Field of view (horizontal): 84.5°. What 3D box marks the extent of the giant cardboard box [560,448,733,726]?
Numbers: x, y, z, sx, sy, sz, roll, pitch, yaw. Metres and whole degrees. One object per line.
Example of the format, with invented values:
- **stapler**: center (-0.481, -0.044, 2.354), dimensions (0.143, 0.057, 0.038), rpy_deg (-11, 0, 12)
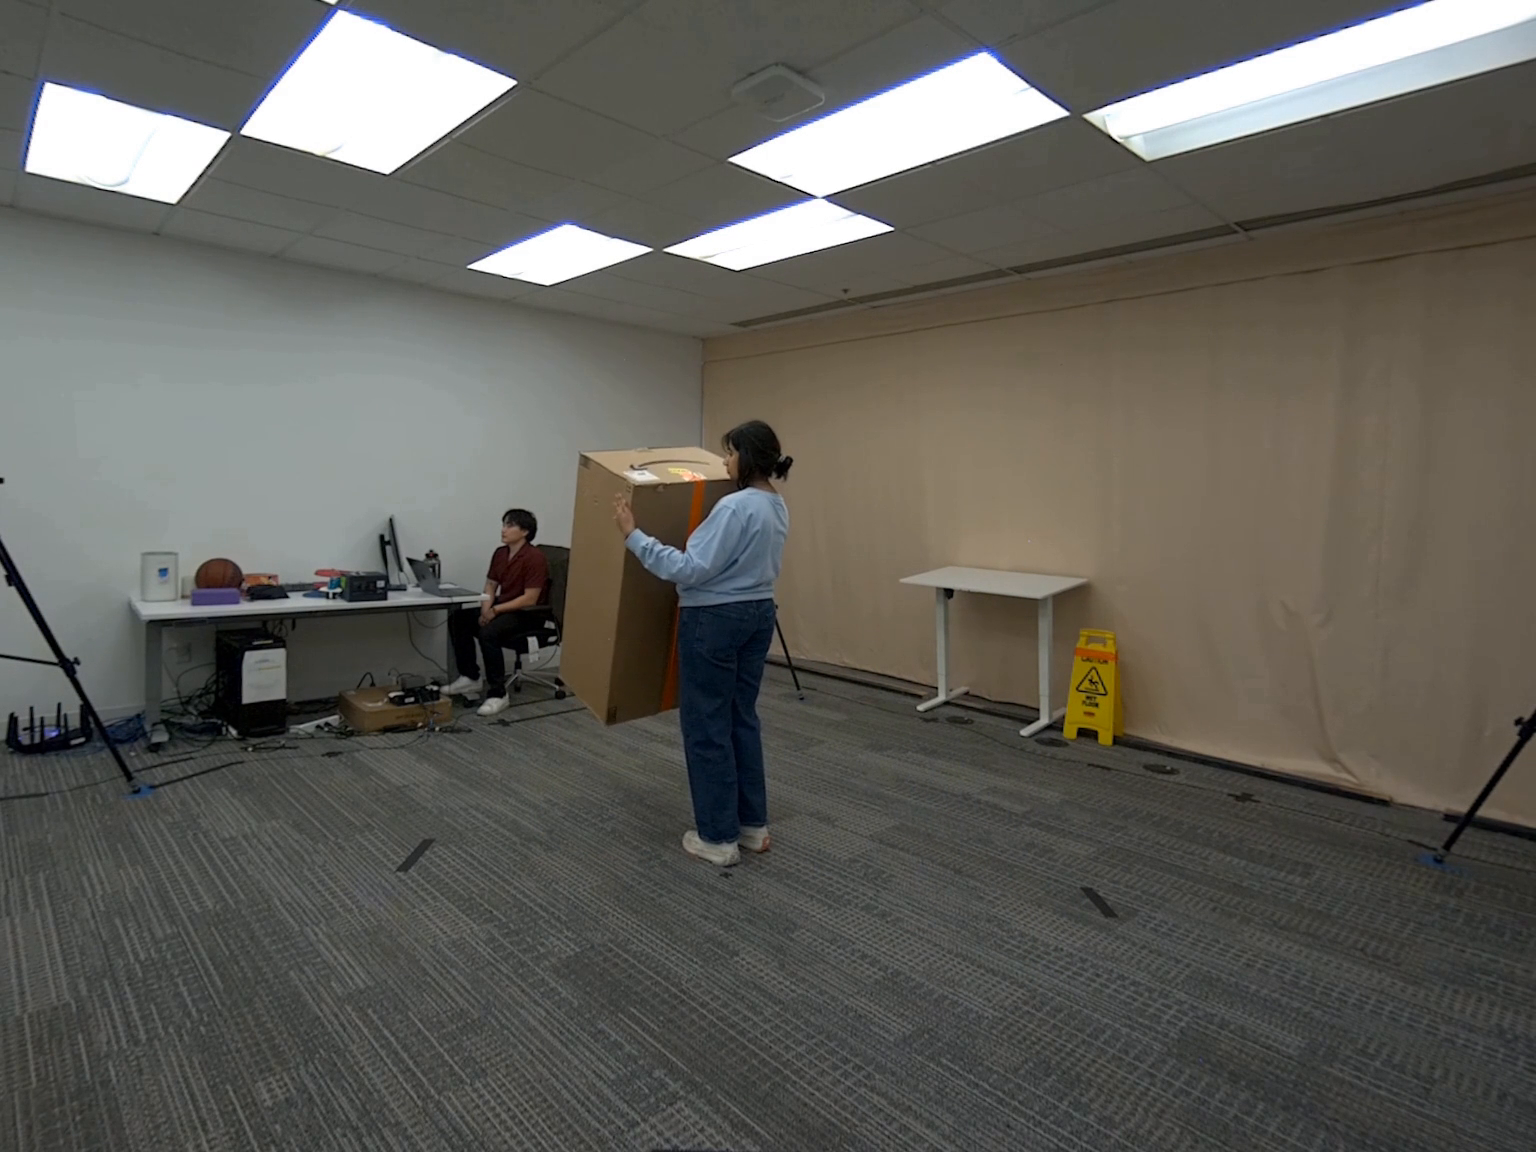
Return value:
- **giant cardboard box**: center (-0.486, 0.022, 3.504), dimensions (0.572, 1.015, 0.461), rpy_deg (-7, 26, -39)
